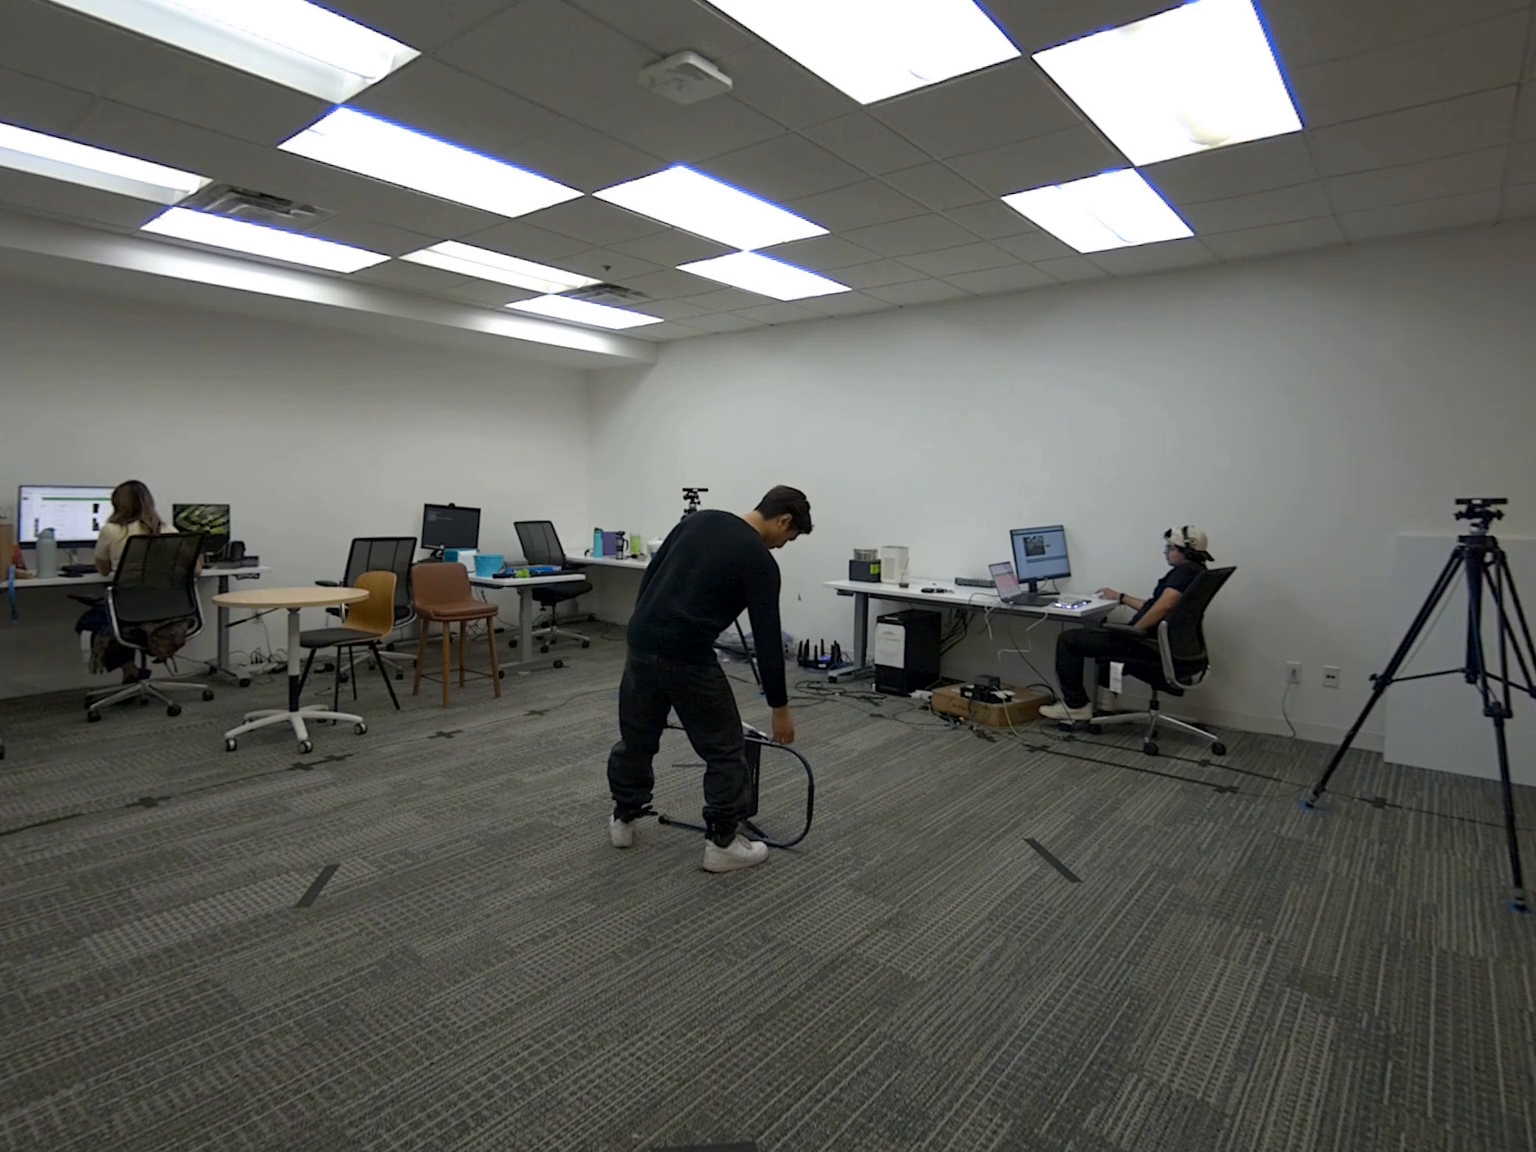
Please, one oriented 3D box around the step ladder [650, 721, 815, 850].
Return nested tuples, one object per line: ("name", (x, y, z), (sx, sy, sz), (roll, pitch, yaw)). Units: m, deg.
("step ladder", (-0.111, 0.836, 3.423), (0.627, 0.429, 0.338), (8, 7, 44))
